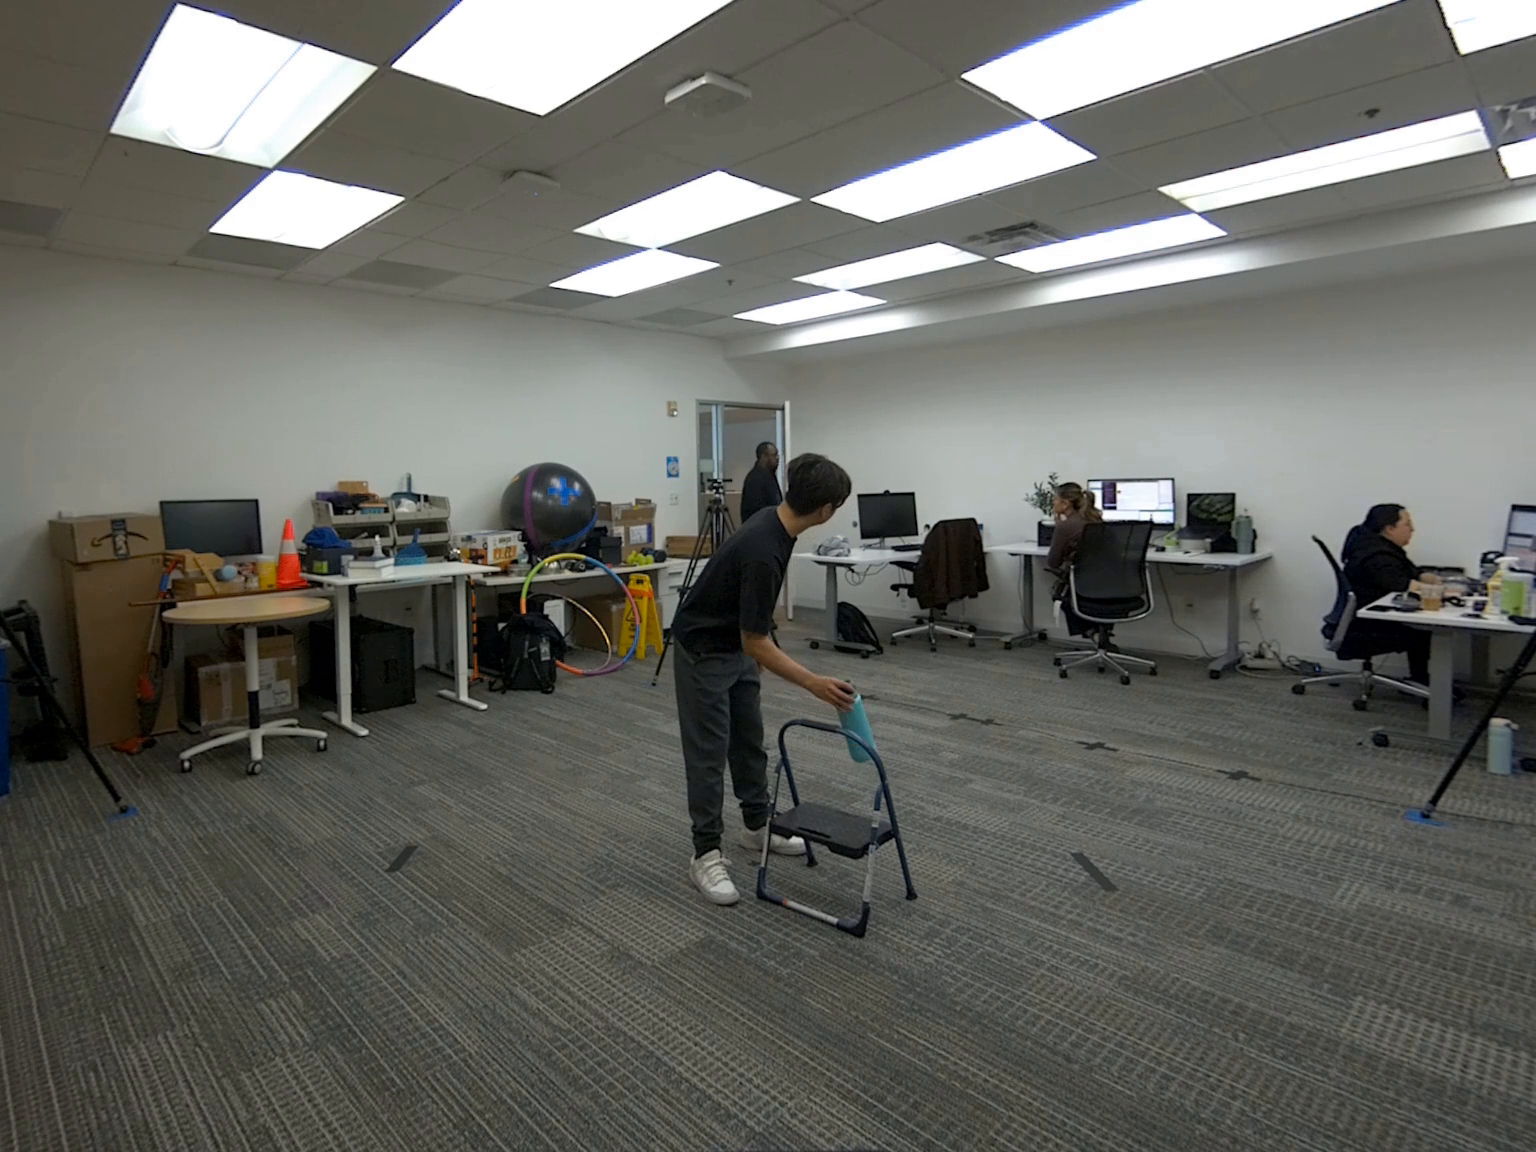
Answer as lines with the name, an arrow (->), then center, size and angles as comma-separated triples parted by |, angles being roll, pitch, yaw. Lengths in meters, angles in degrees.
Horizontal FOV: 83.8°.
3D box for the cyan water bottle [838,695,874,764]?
cyan water bottle -> 0.276, 0.472, 2.836 | 0.092, 0.280, 0.093 | -17, 11, 2
